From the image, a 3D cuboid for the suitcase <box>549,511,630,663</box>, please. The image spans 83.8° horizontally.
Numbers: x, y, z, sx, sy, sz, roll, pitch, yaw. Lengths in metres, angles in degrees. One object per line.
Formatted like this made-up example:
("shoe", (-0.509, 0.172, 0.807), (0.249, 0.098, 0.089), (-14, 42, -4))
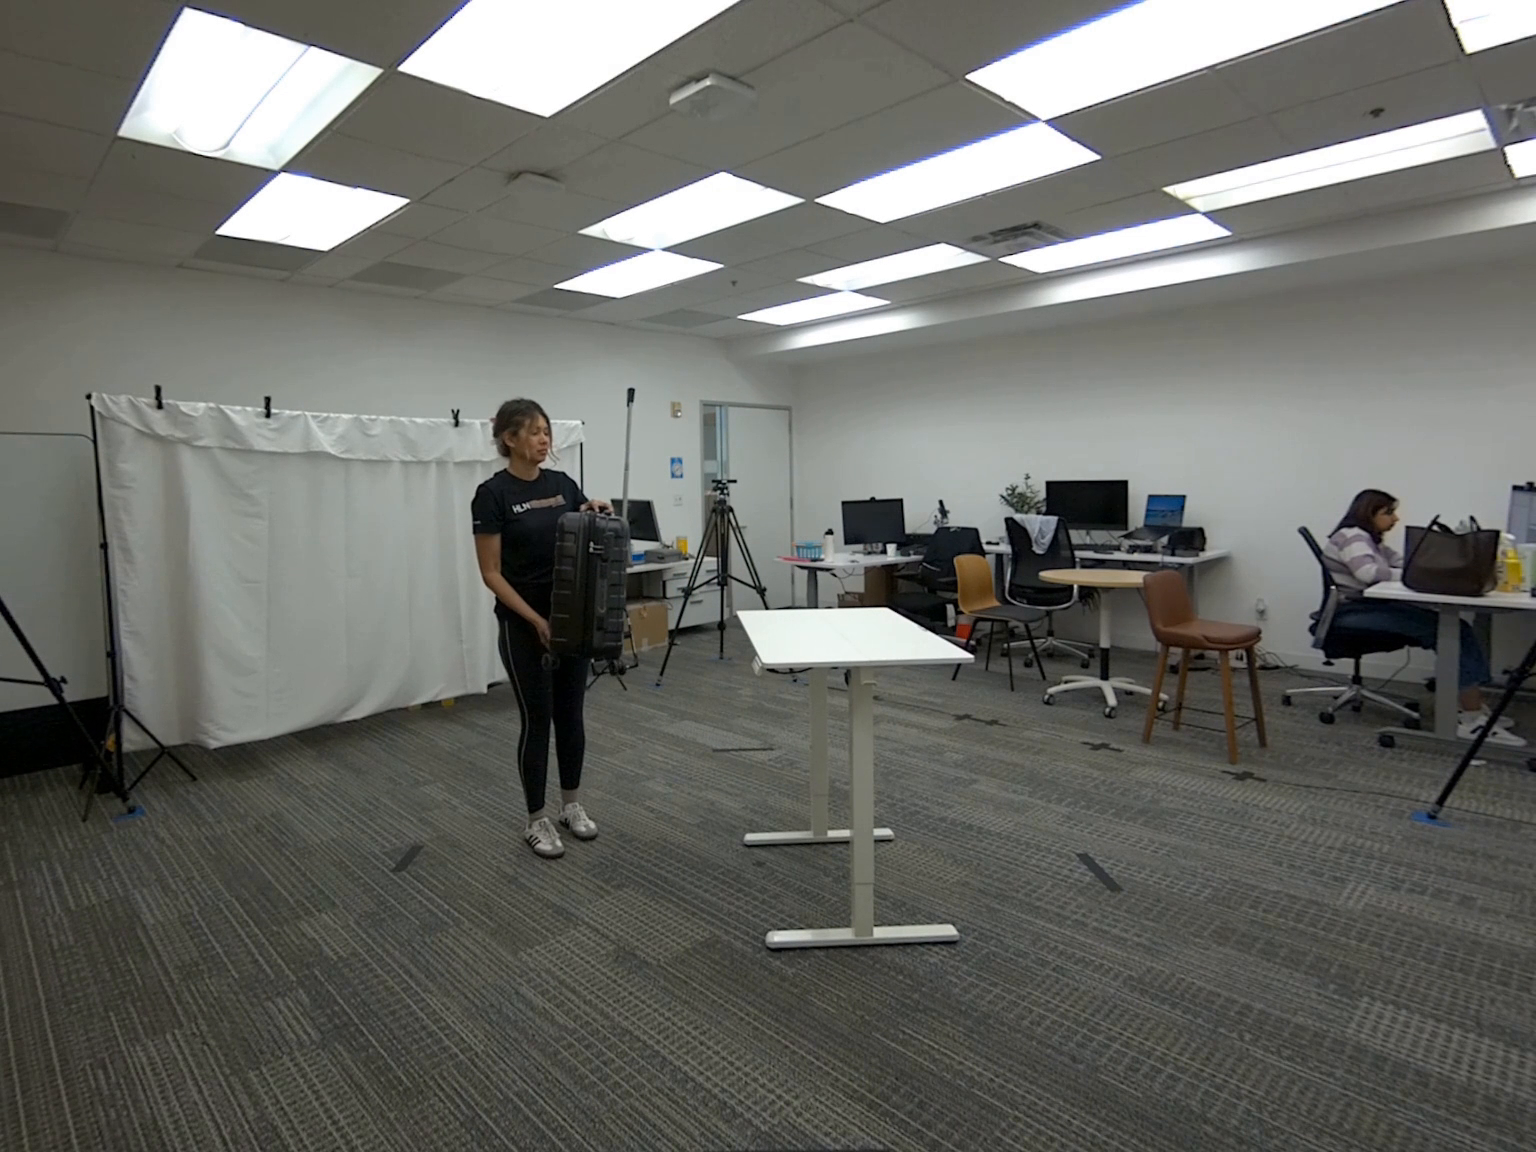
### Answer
("suitcase", (-0.620, -0.172, 3.022), (0.255, 0.978, 0.386), (1, 1, -7))
